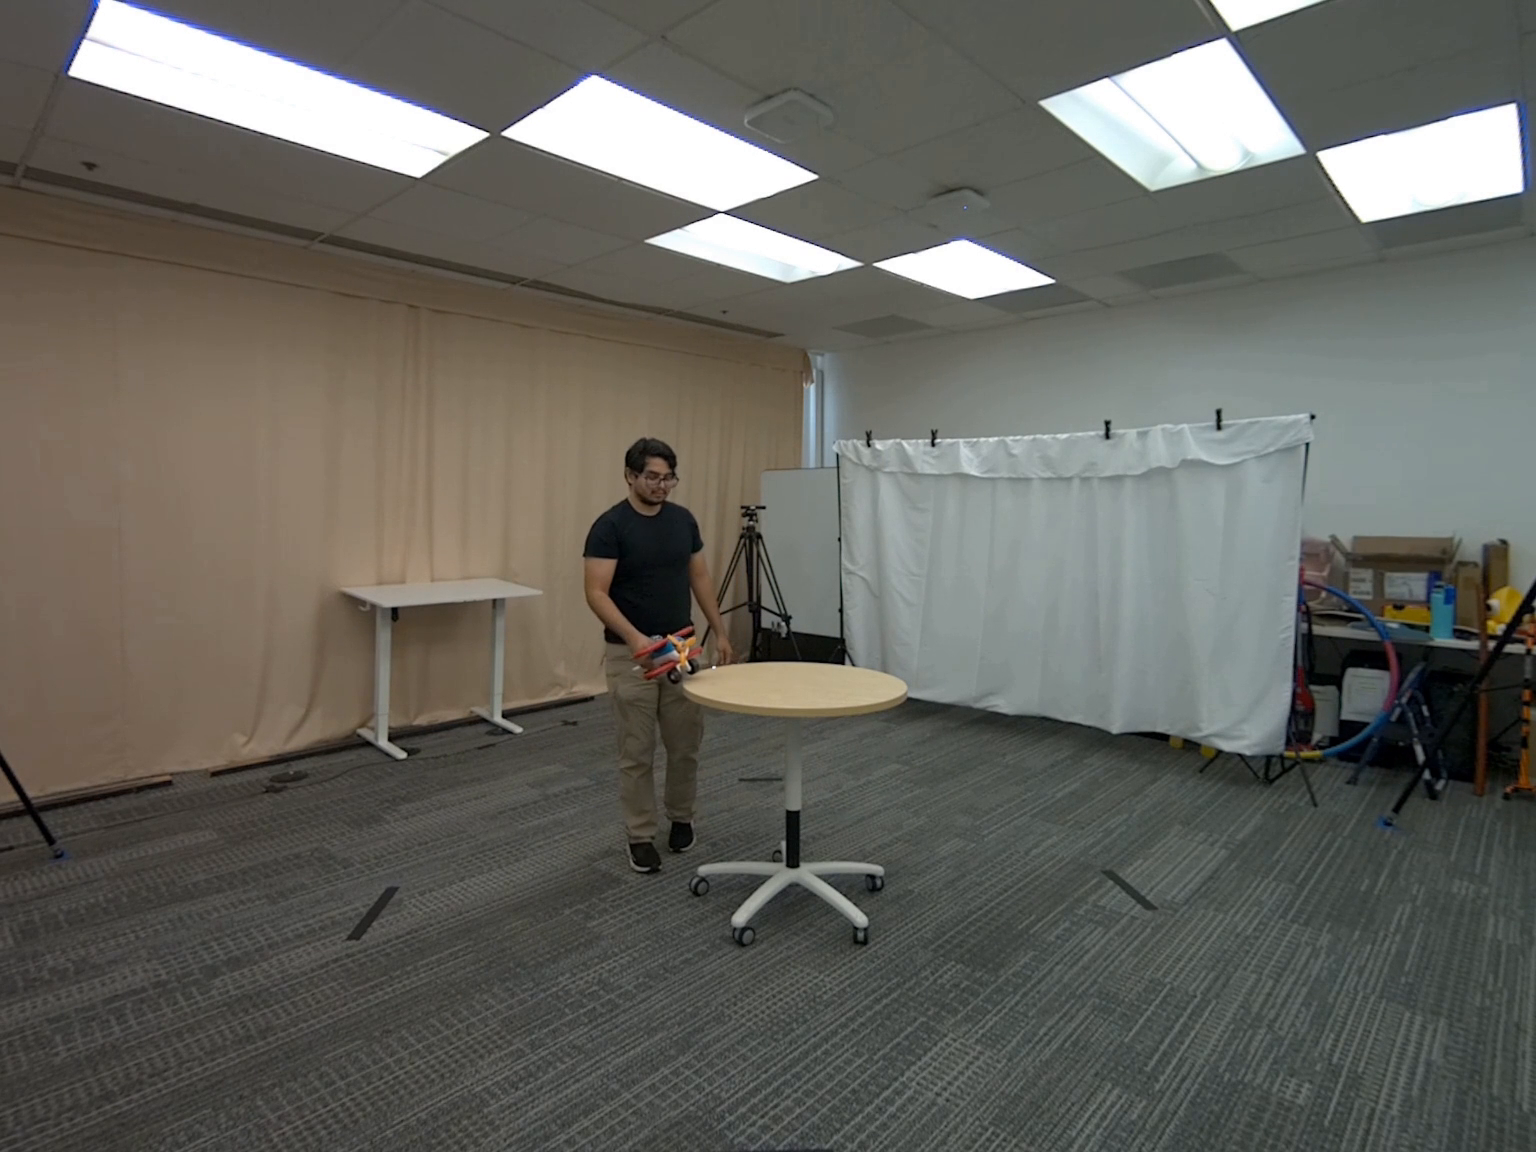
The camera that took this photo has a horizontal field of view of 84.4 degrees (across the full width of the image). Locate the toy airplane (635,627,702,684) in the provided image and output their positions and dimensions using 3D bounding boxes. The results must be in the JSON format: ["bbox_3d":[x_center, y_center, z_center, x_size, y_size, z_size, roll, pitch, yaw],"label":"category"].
[{"bbox_3d":[-0.372,0.291,2.939,0.263,0.155,0.249,-11,10,17],"label":"toy airplane"}]
